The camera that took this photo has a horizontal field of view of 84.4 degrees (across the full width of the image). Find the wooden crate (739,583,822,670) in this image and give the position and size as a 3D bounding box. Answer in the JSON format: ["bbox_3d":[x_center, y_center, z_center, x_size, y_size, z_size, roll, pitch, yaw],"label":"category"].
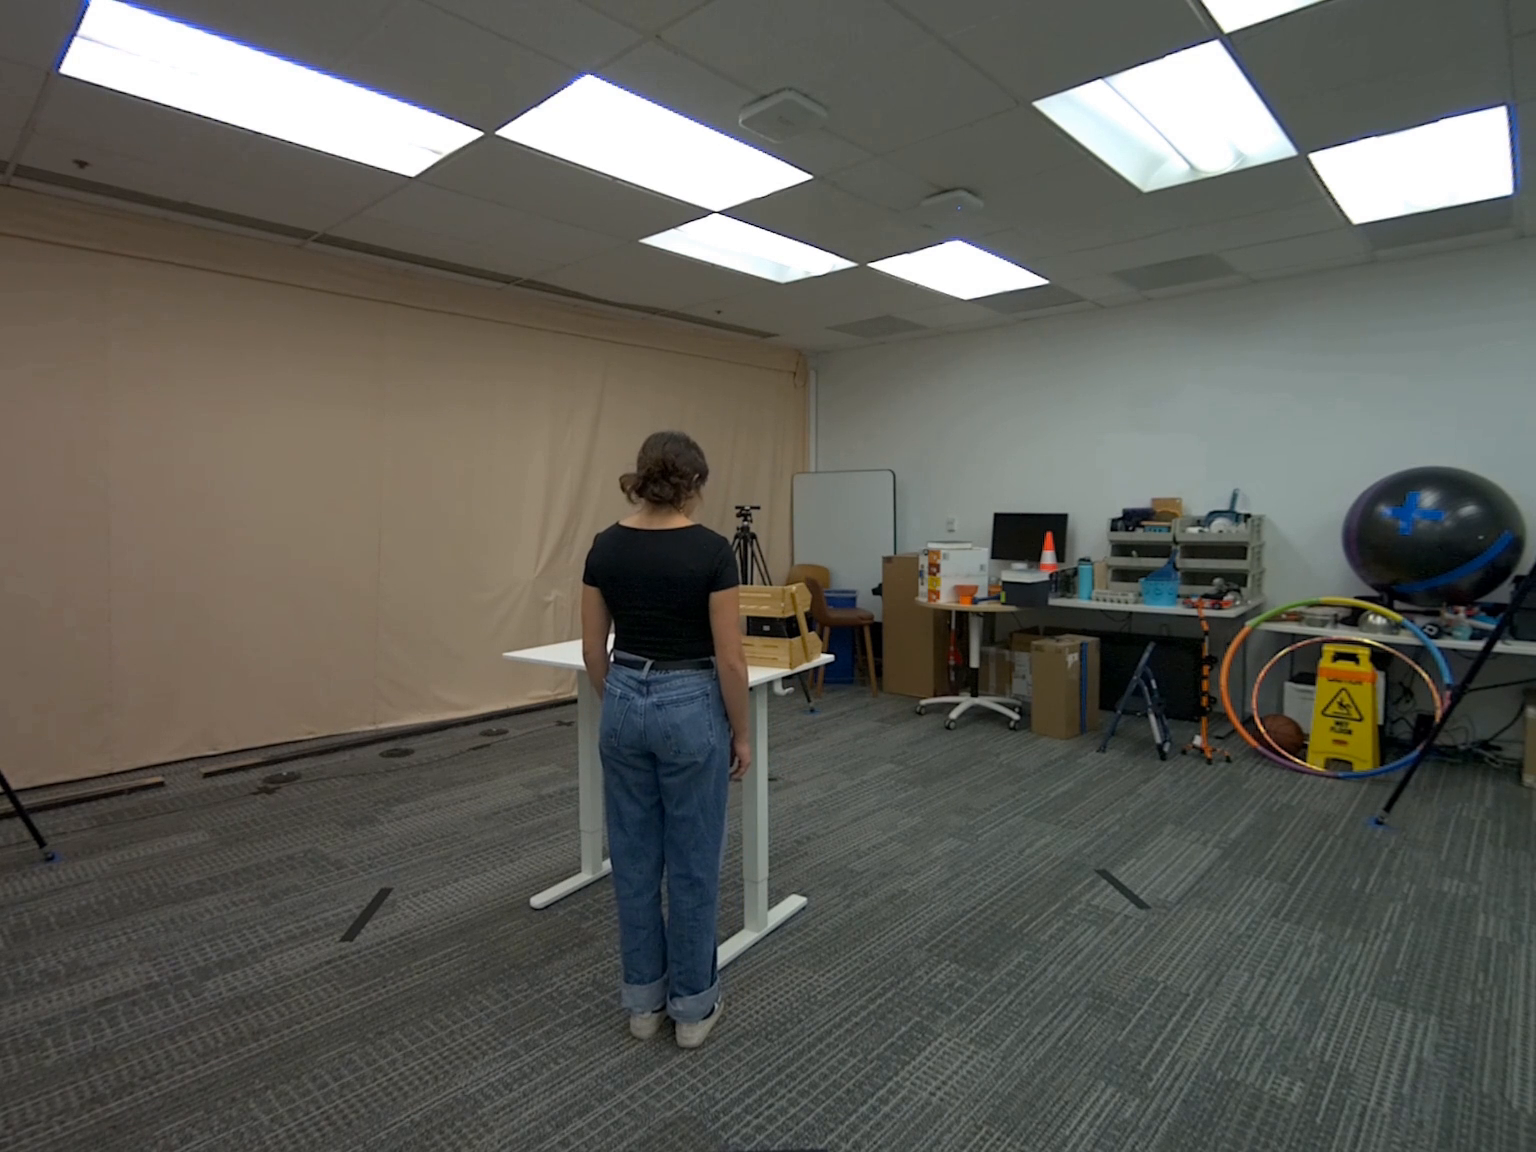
[{"bbox_3d":[-0.018,0.147,2.759,0.333,0.272,0.295,1,5,27],"label":"wooden crate"}]
